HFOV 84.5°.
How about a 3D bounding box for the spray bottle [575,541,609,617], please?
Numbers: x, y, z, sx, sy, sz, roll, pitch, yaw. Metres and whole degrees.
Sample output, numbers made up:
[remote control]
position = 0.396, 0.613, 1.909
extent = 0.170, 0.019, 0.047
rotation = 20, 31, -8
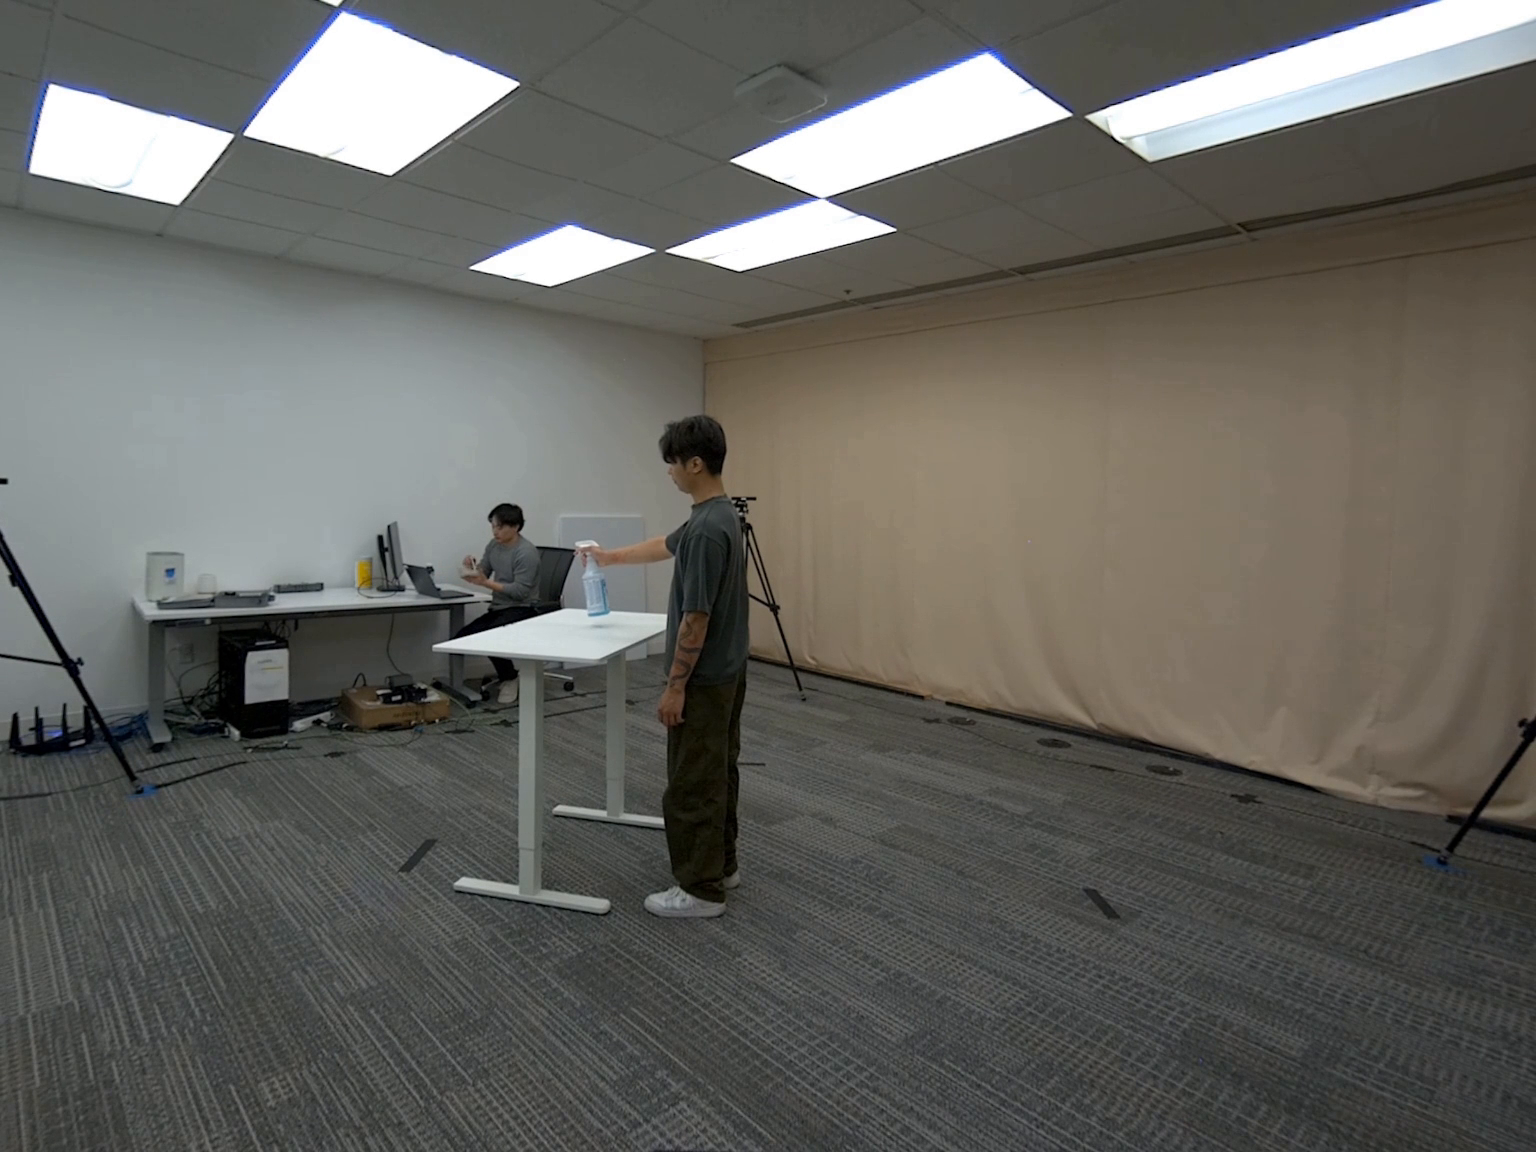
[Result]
[spray bottle]
position = -0.689, 0.008, 3.282
extent = 0.092, 0.297, 0.085
rotation = -9, -1, 38
